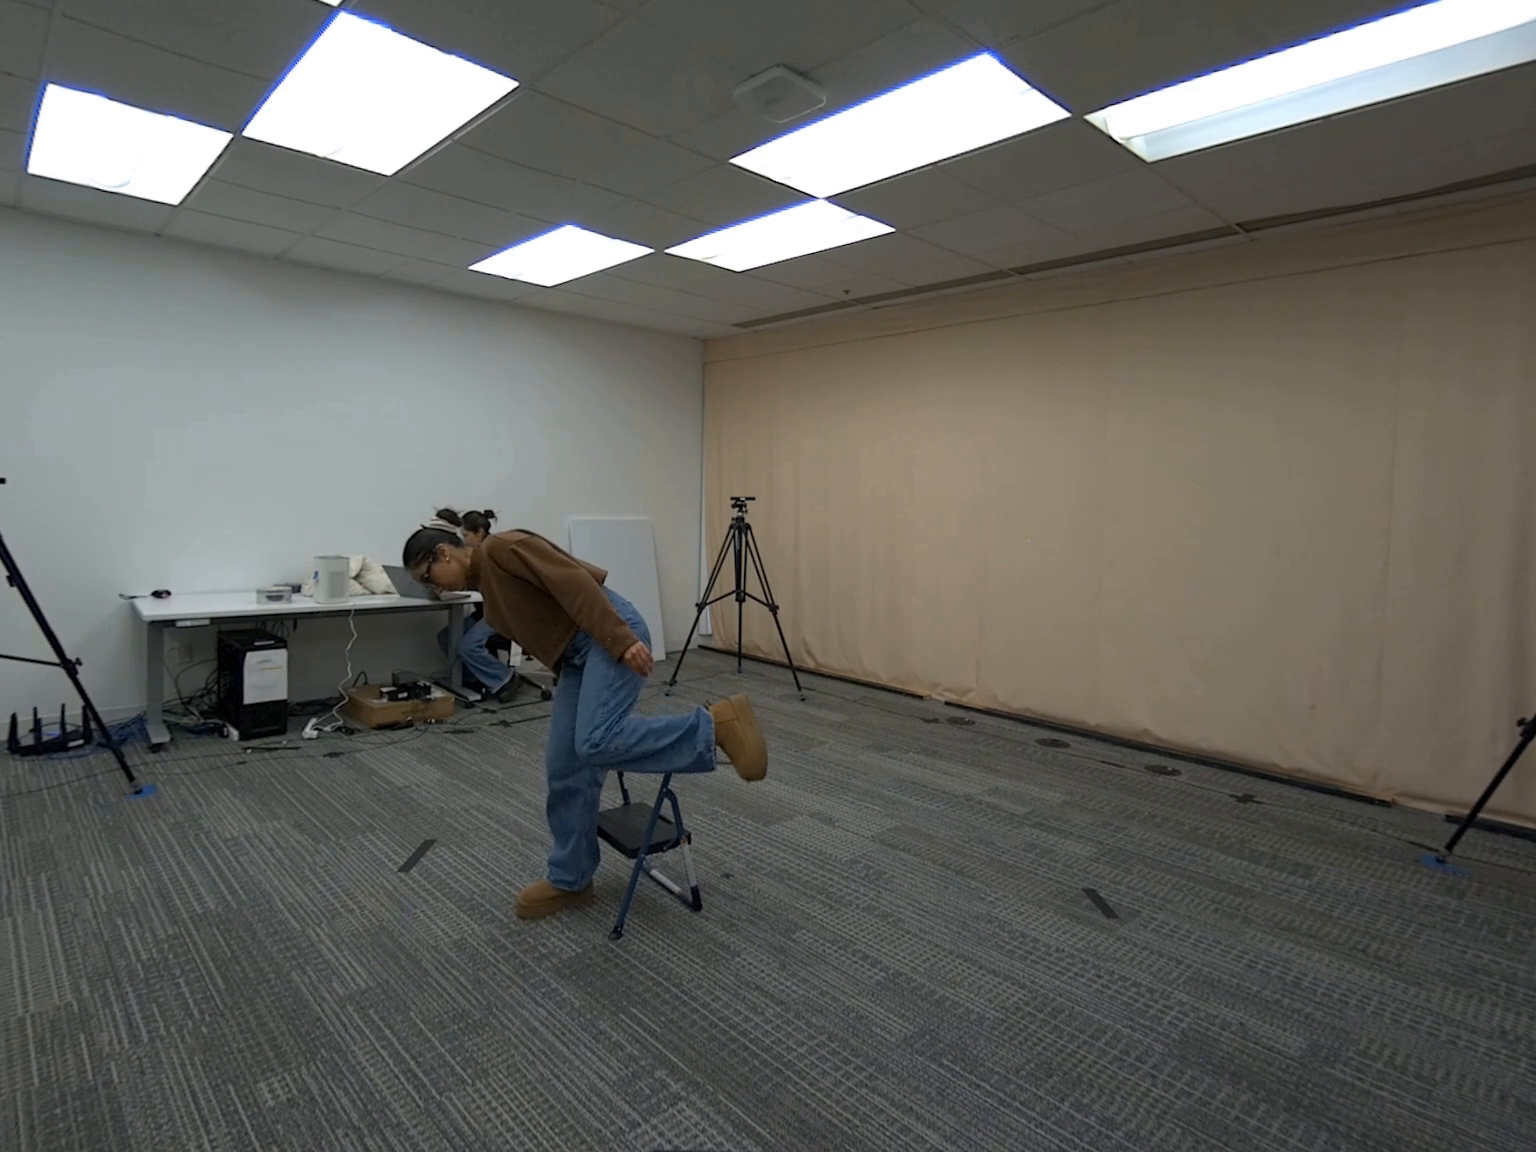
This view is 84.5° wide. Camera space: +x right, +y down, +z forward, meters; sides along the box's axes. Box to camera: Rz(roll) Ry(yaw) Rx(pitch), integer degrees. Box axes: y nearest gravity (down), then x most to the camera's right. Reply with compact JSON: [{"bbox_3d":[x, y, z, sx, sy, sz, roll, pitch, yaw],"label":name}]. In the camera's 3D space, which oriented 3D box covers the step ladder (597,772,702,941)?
[{"bbox_3d":[-0.474,0.817,2.888,0.341,0.605,0.441,-1,4,-37],"label":"step ladder"}]
